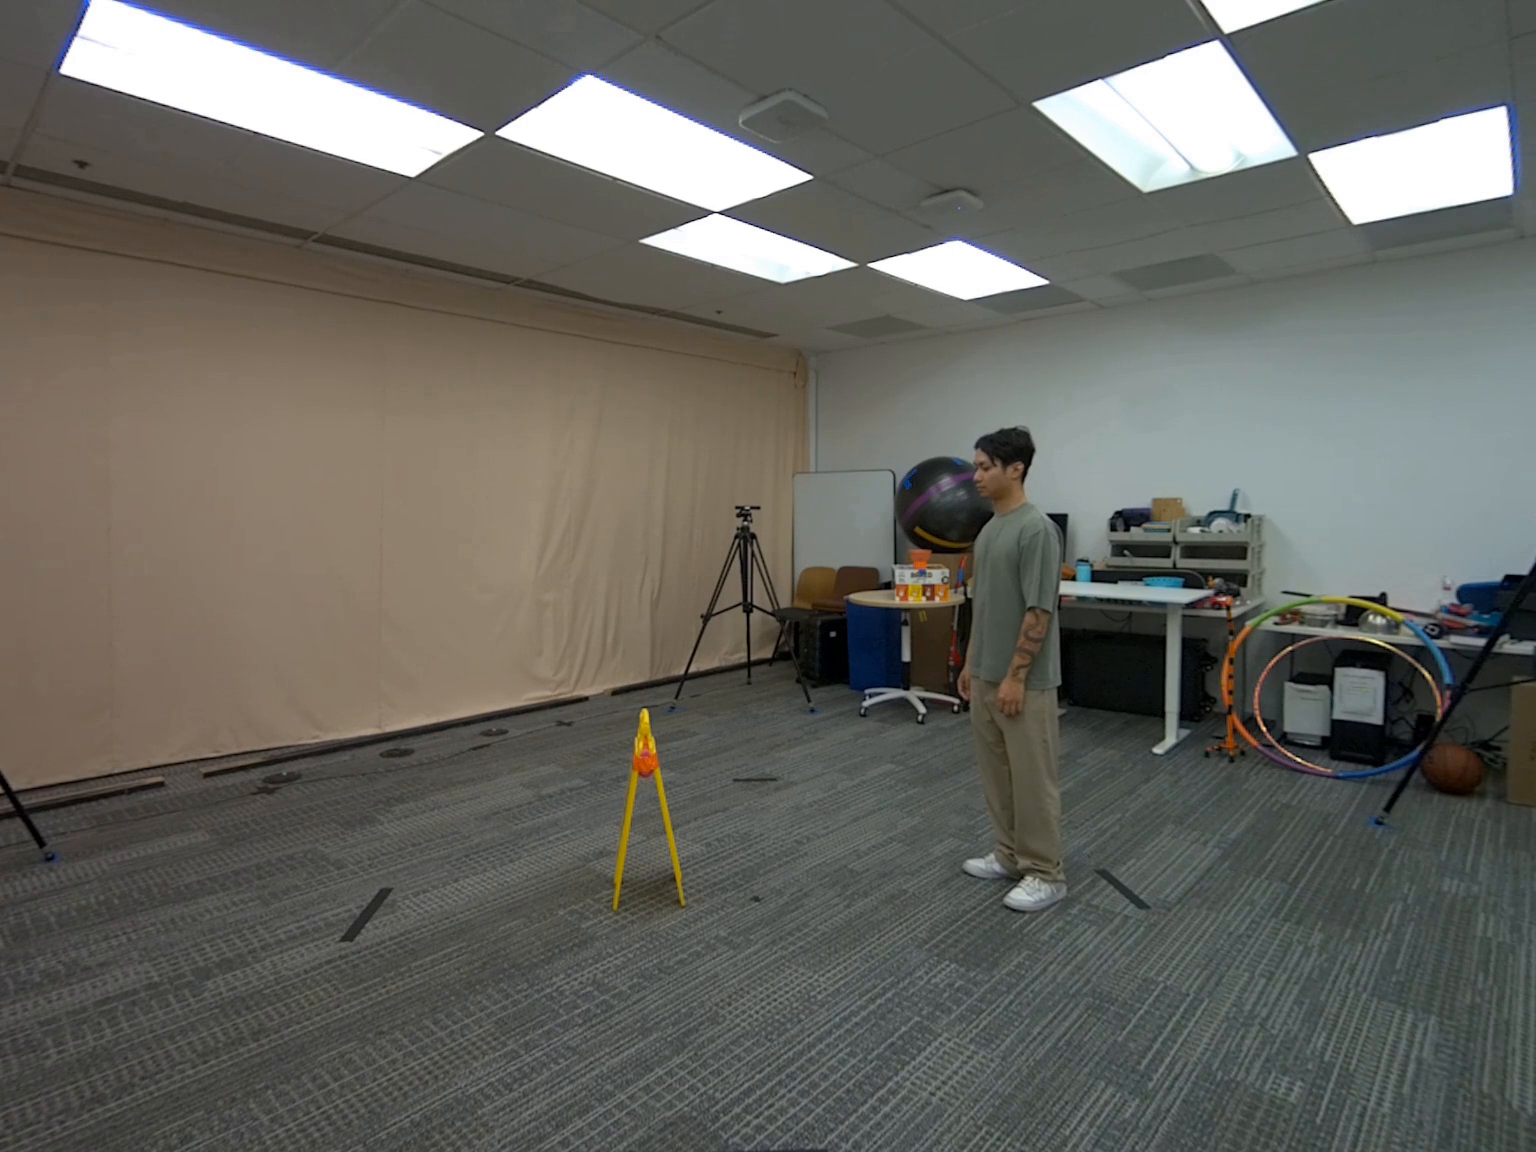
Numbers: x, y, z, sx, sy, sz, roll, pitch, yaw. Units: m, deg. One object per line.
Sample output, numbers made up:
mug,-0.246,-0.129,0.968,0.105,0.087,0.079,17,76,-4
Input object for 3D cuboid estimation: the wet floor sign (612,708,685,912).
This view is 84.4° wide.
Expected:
wet floor sign,-0.434,0.822,3.036,0.287,0.645,0.285,-2,2,-8
